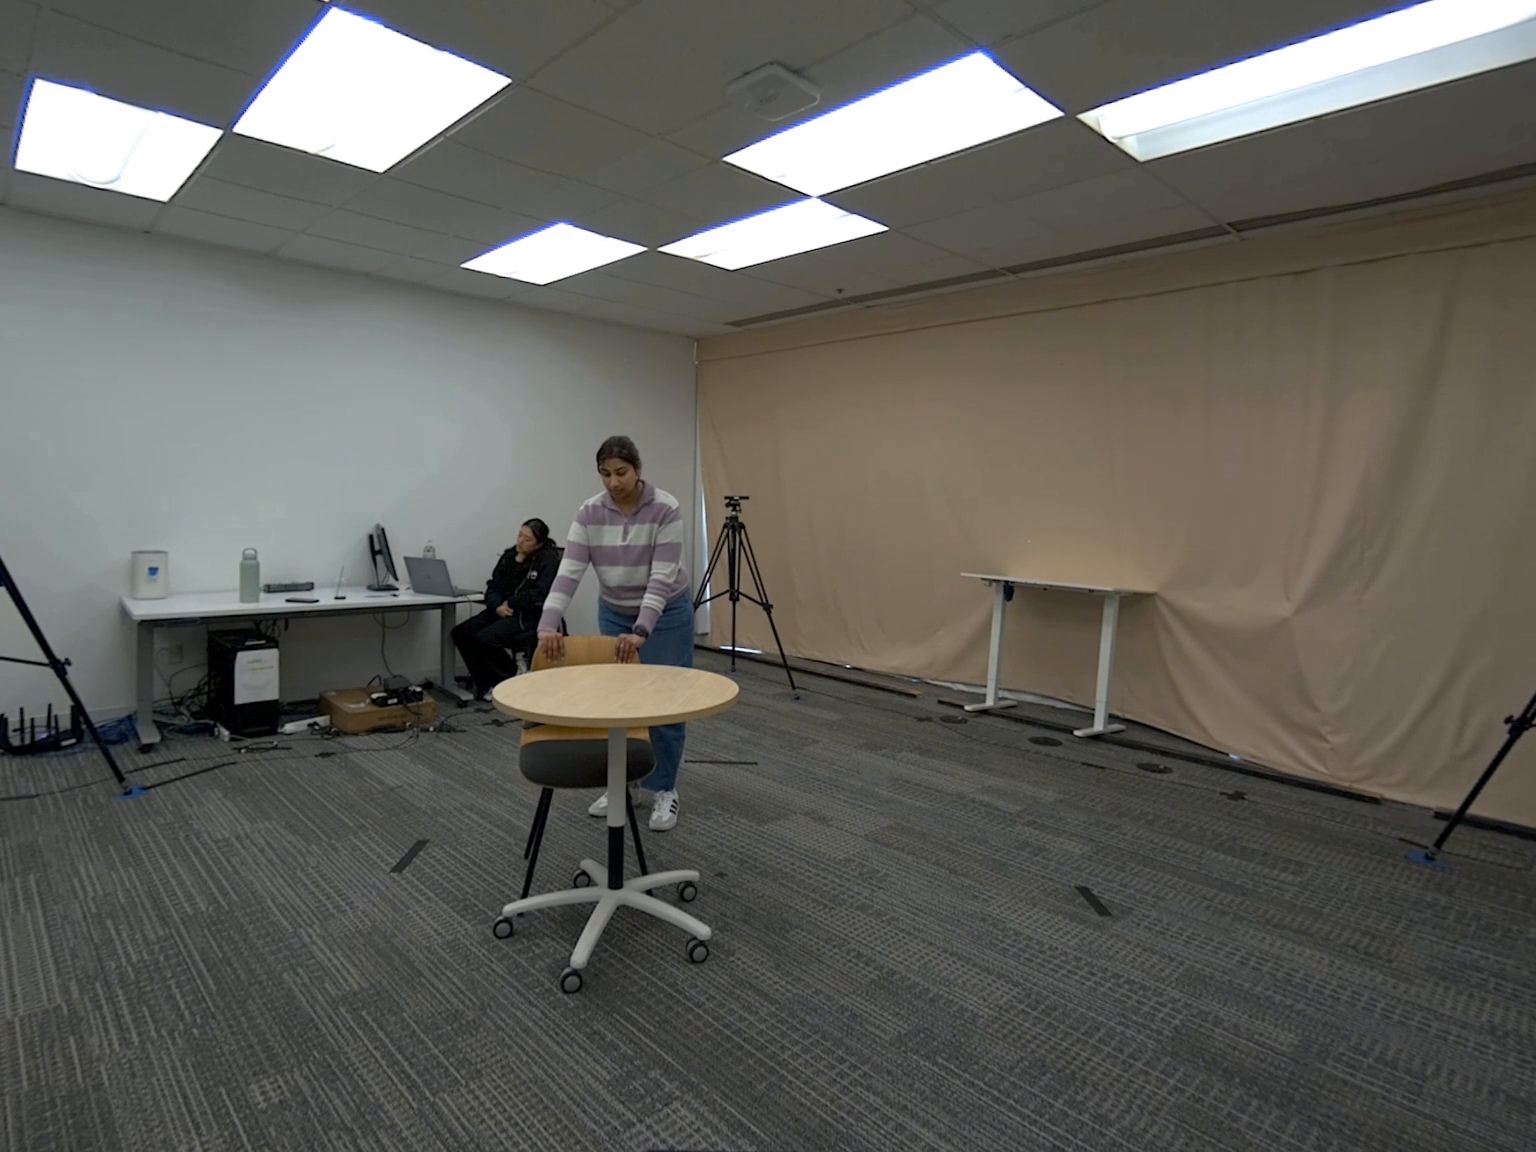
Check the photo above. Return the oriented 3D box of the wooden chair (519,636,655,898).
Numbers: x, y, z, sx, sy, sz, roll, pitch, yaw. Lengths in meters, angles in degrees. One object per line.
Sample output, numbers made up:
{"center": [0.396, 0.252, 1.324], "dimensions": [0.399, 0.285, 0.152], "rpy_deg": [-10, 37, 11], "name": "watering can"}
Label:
{"center": [-0.656, 0.676, 2.993], "dimensions": [0.473, 0.878, 0.529], "rpy_deg": [1, -1, -14], "name": "wooden chair"}
